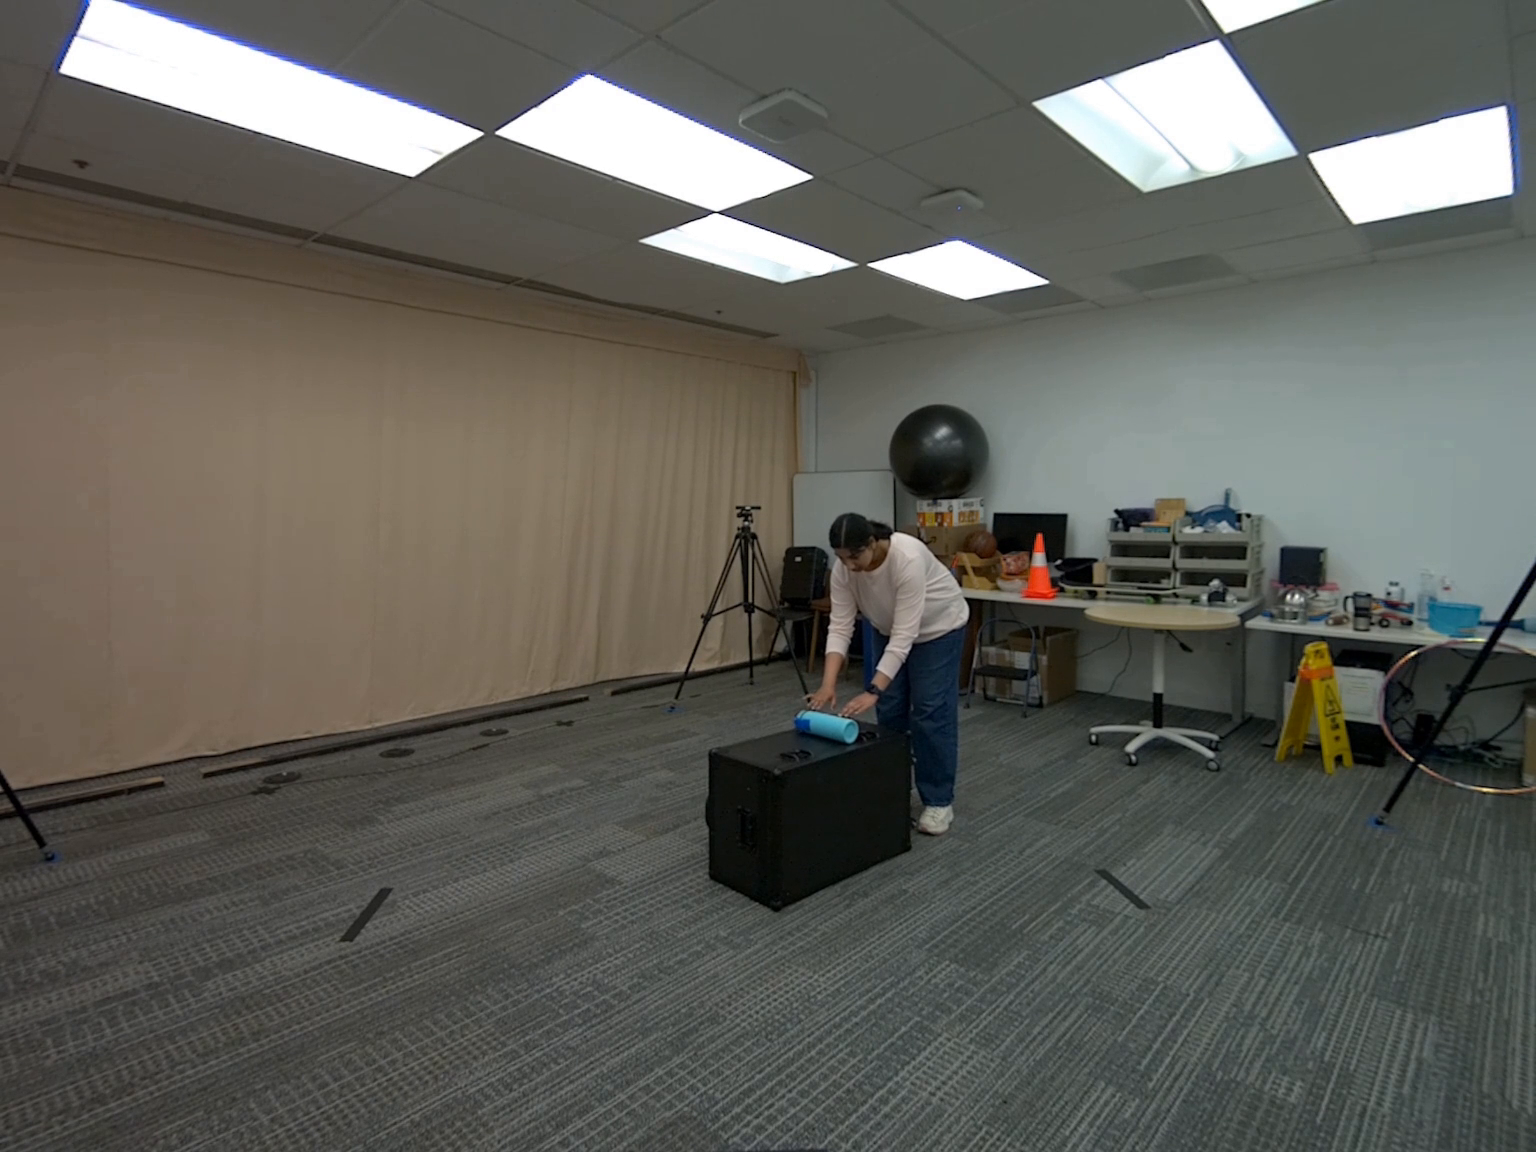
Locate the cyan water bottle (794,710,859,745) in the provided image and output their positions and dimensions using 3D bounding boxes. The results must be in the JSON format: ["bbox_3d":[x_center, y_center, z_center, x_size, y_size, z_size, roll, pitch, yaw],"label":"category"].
[{"bbox_3d":[0.224,0.582,3.318,0.089,0.092,0.293,-3,5,-44],"label":"cyan water bottle"}]
